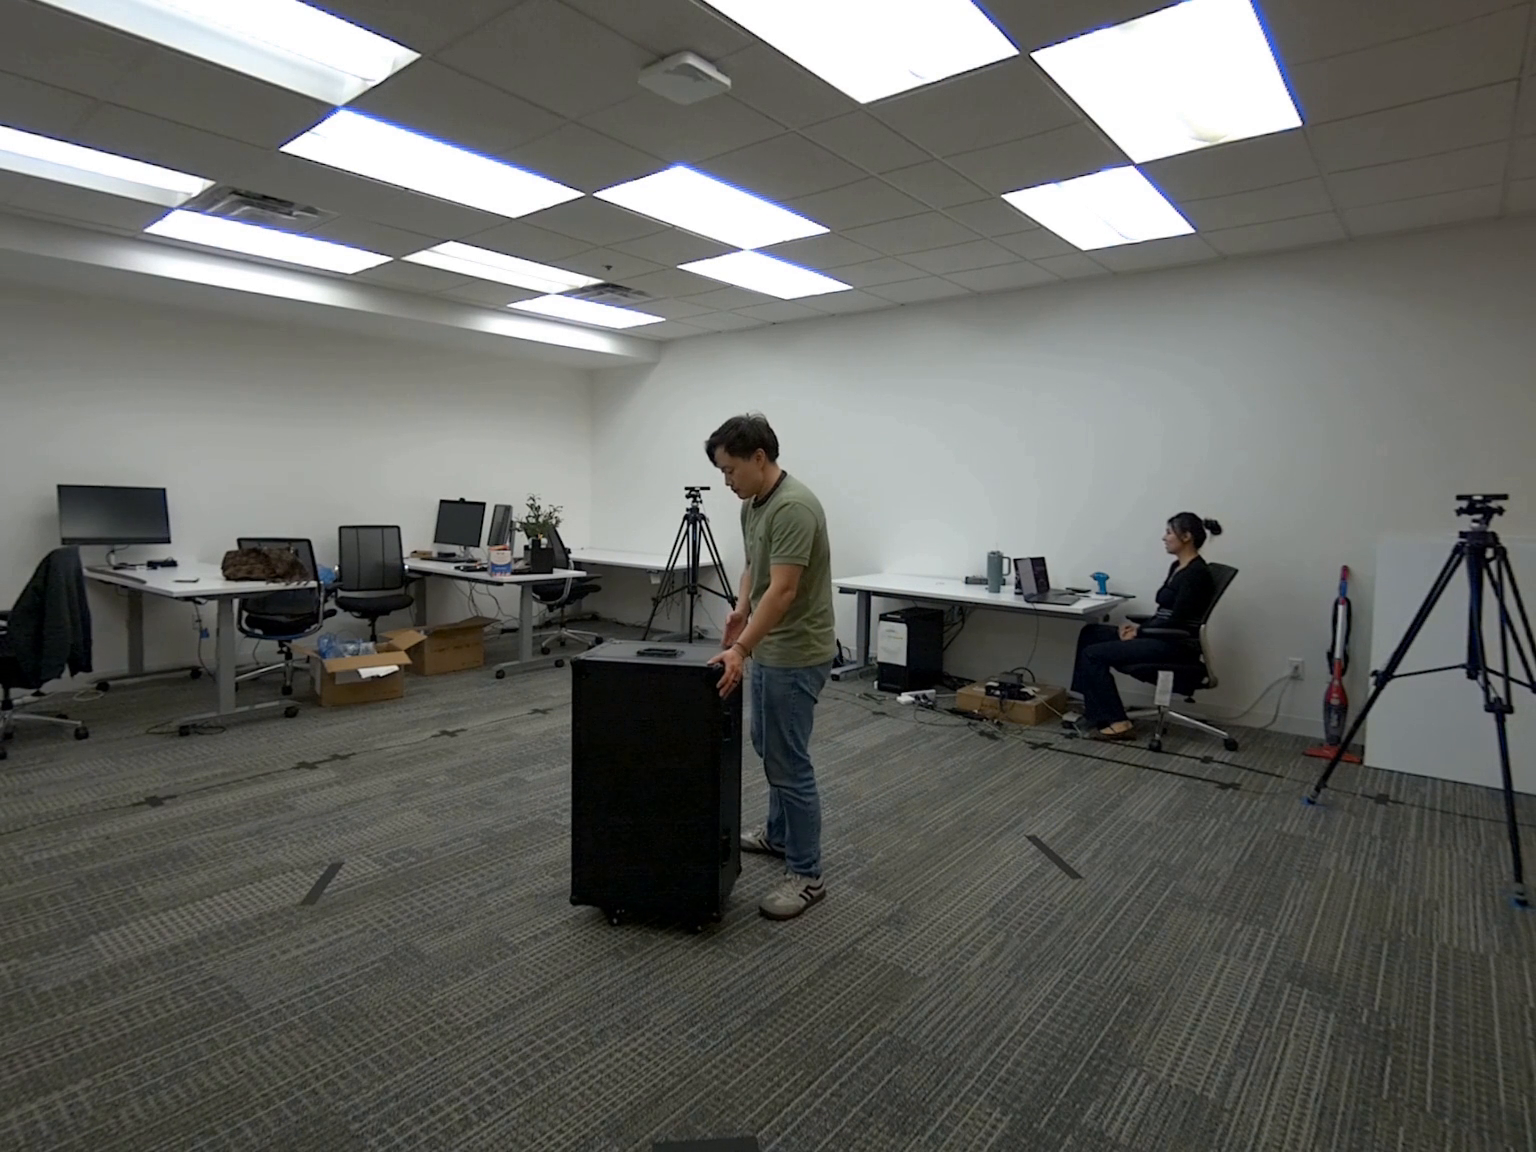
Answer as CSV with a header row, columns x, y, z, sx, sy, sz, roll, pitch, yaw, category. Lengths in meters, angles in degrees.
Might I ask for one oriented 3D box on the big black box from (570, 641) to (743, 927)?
x,y,z,sx,sy,sz,roll,pitch,yaw,category
-0.368,0.668,2.787,0.528,0.859,0.392,1,3,12,big black box
